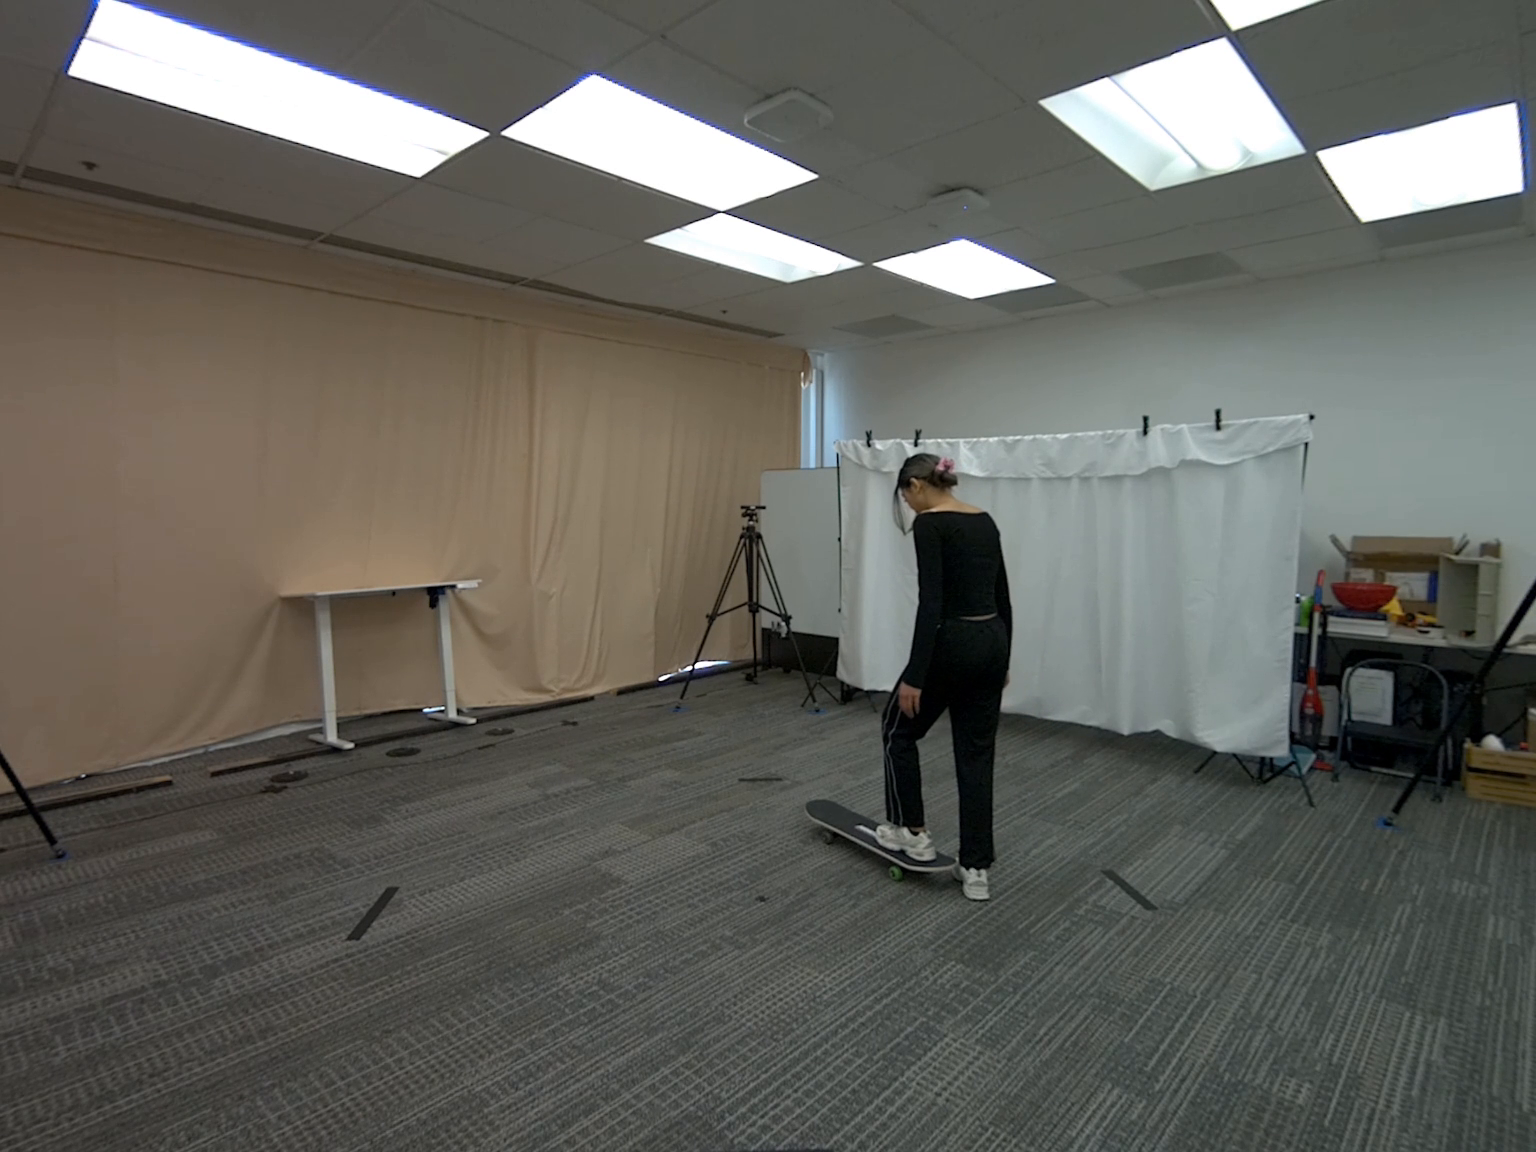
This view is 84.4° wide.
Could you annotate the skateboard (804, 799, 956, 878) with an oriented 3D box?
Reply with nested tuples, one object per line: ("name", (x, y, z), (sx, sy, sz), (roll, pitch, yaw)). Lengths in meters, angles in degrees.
("skateboard", (0.435, 1.057, 3.340), (0.188, 0.110, 0.810), (-2, 6, -33))
